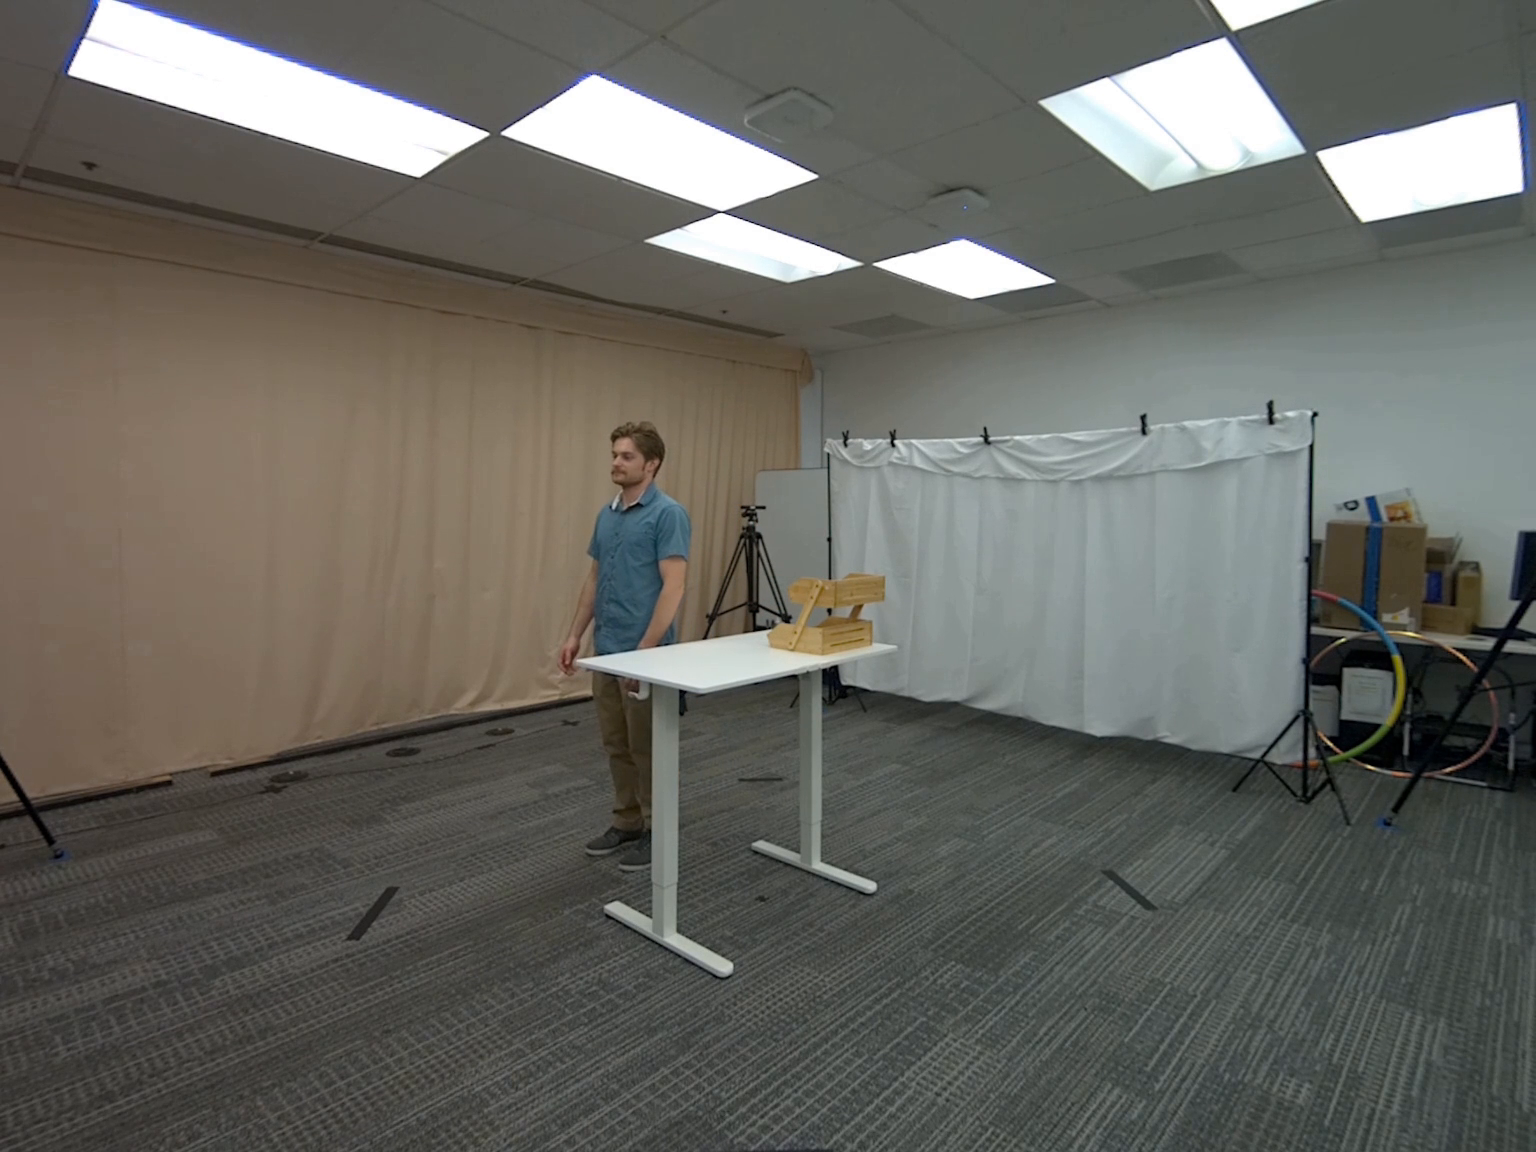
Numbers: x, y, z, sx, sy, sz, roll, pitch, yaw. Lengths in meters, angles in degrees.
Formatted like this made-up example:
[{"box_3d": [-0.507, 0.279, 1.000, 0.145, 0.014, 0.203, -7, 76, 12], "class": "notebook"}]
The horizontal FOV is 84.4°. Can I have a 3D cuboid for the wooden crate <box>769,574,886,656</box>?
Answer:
[{"box_3d": [0.212, 0.125, 3.034, 0.312, 0.272, 0.314, 4, 6, 42], "class": "wooden crate"}]
